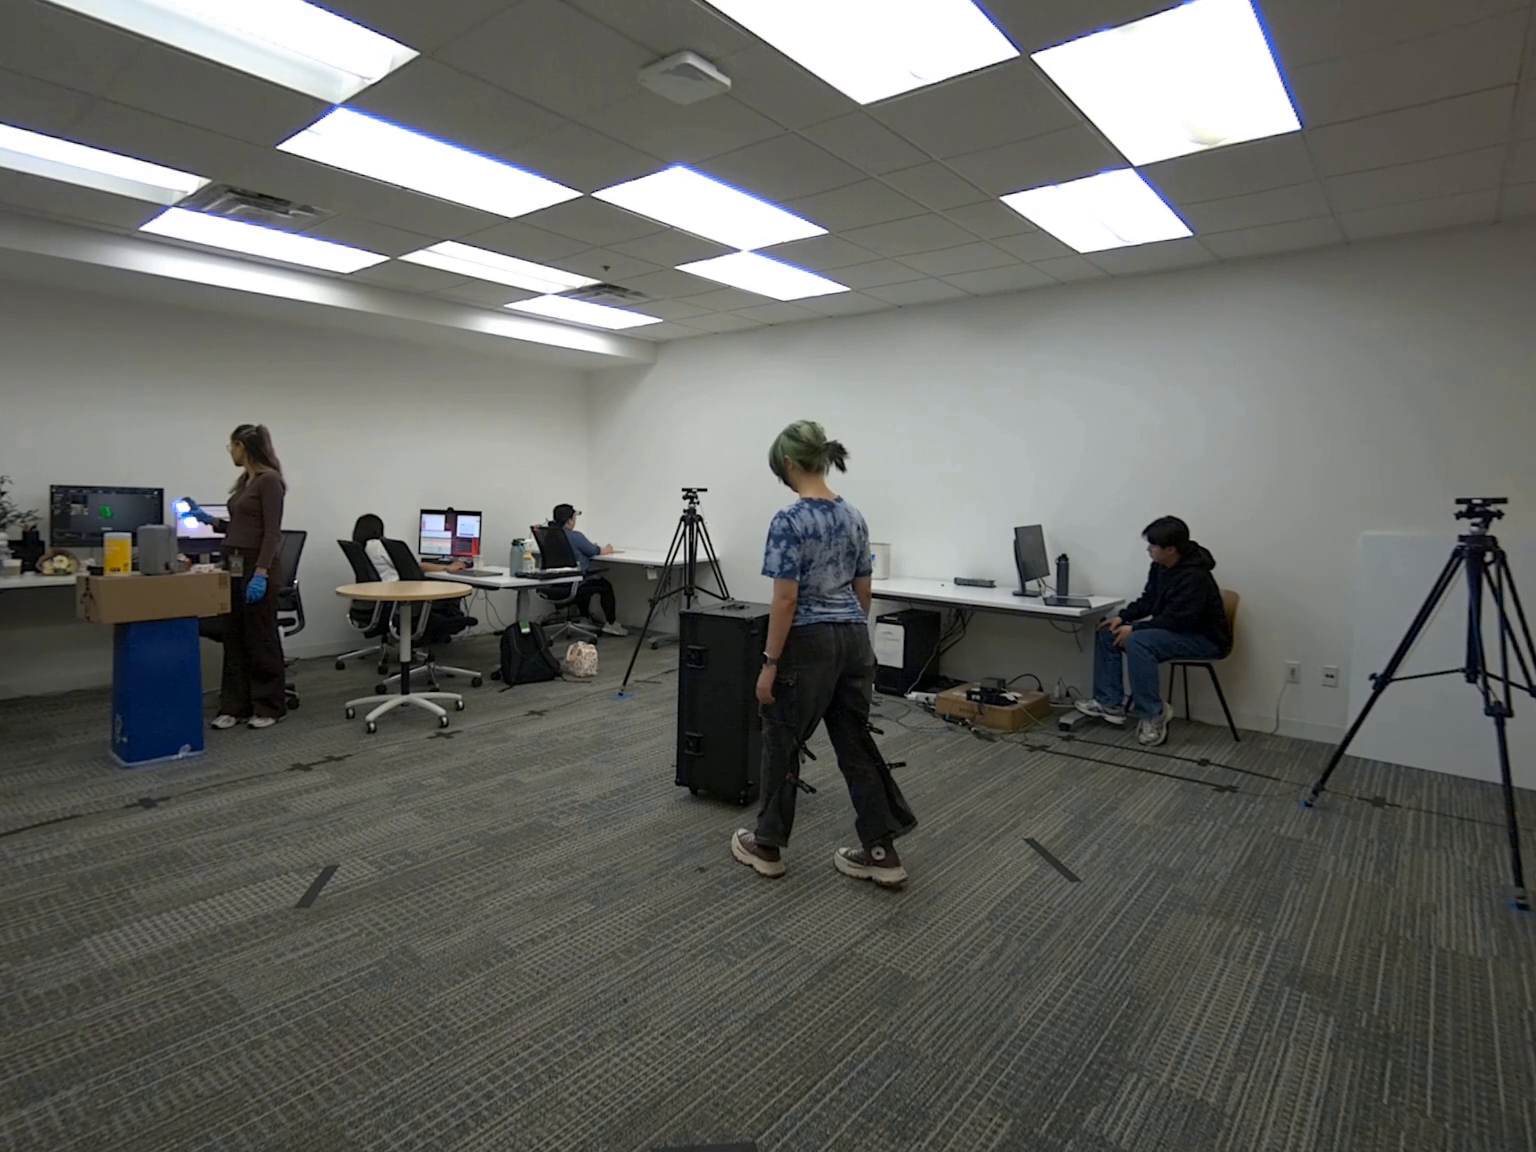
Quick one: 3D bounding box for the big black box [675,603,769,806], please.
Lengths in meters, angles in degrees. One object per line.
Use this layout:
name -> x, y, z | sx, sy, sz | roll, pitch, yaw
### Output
big black box -> -0.146, 0.567, 3.904 | 0.407, 0.859, 0.509 | 4, 4, 26
